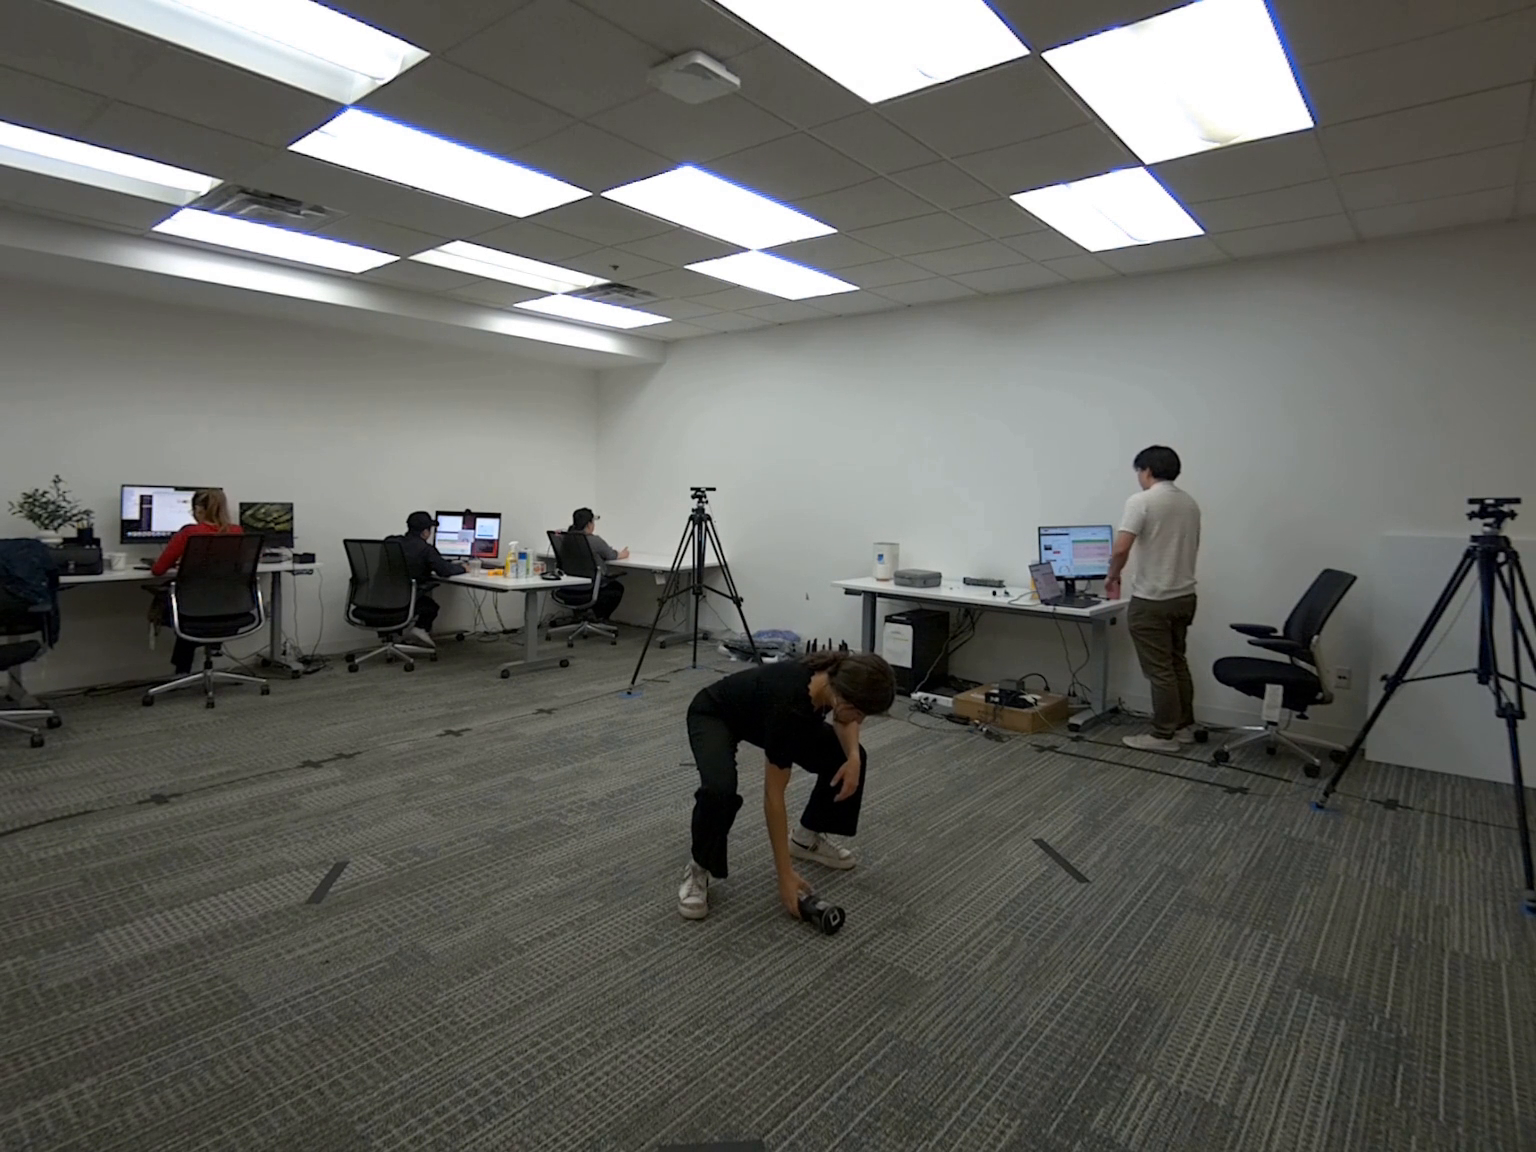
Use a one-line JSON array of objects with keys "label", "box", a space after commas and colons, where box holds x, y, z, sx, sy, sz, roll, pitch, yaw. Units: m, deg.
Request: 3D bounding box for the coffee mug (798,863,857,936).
[{"label": "coffee mug", "box": [0.137, 1.060, 2.730, 0.117, 0.088, 0.209, 35, -15, -32]}]
